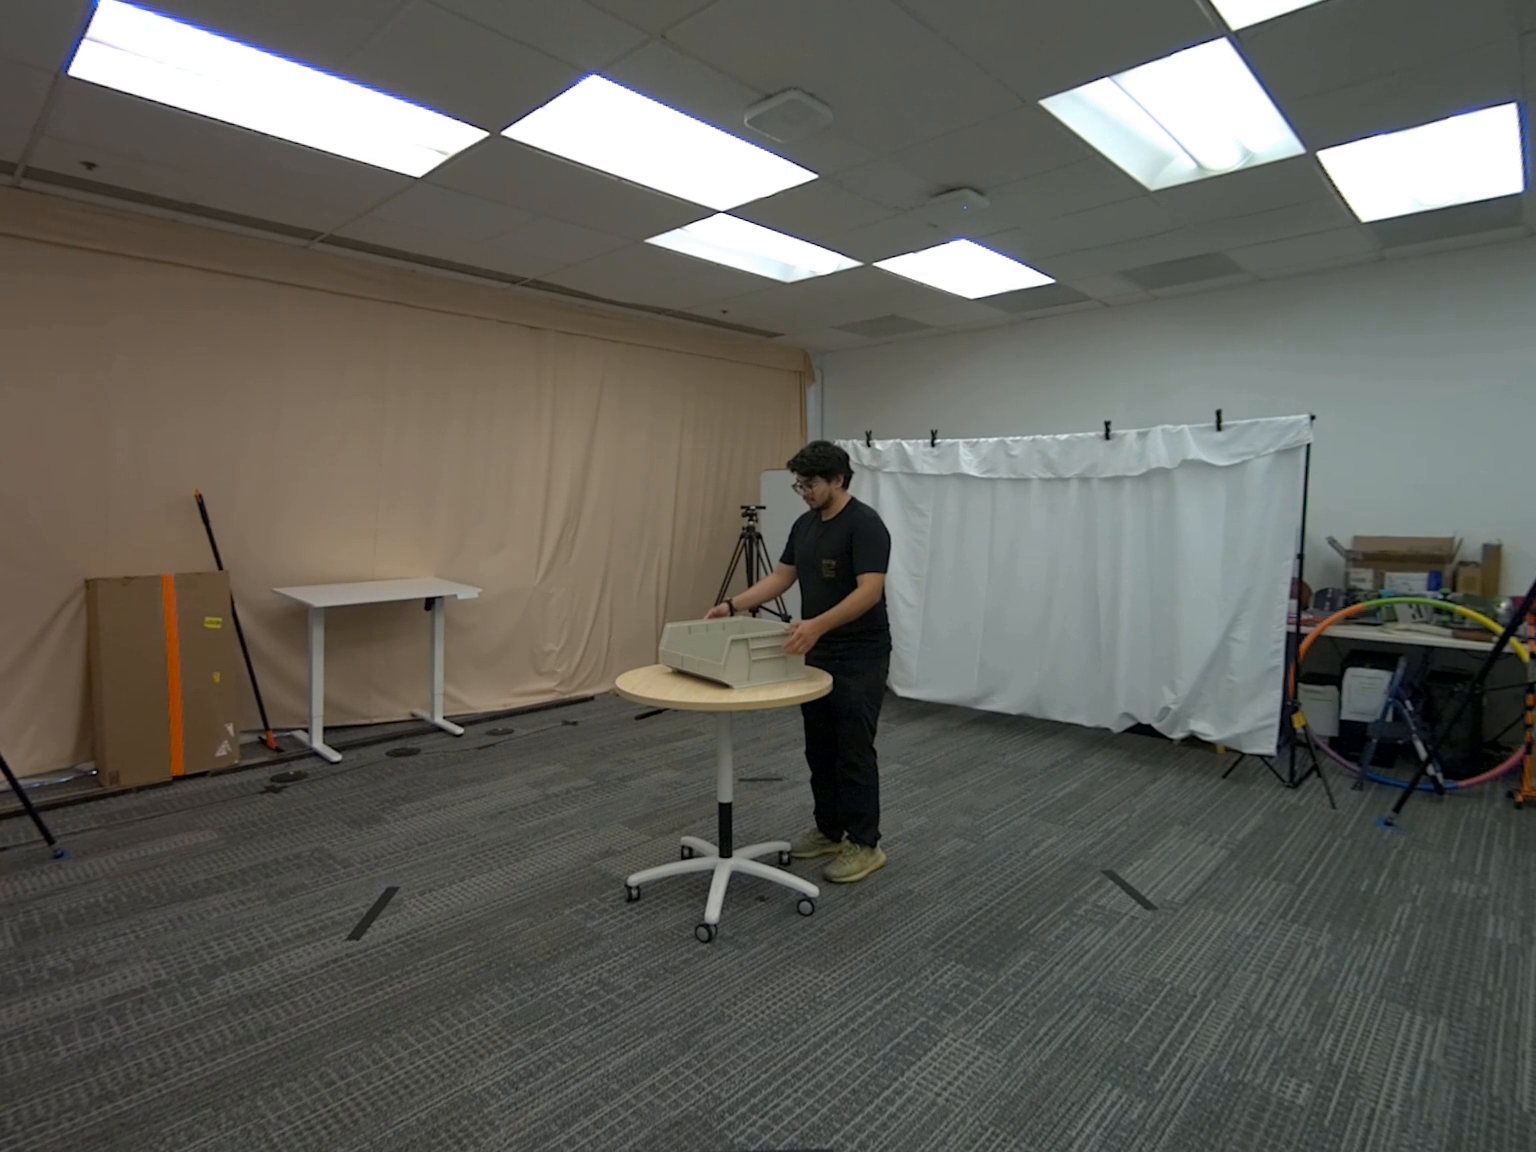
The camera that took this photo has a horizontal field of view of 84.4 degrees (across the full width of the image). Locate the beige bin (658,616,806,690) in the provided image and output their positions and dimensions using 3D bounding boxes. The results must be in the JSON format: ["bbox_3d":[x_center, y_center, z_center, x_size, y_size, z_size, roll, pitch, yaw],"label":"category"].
[{"bbox_3d":[-0.127,0.268,3.029,0.366,0.188,0.435,-3,4,-35],"label":"beige bin"}]
